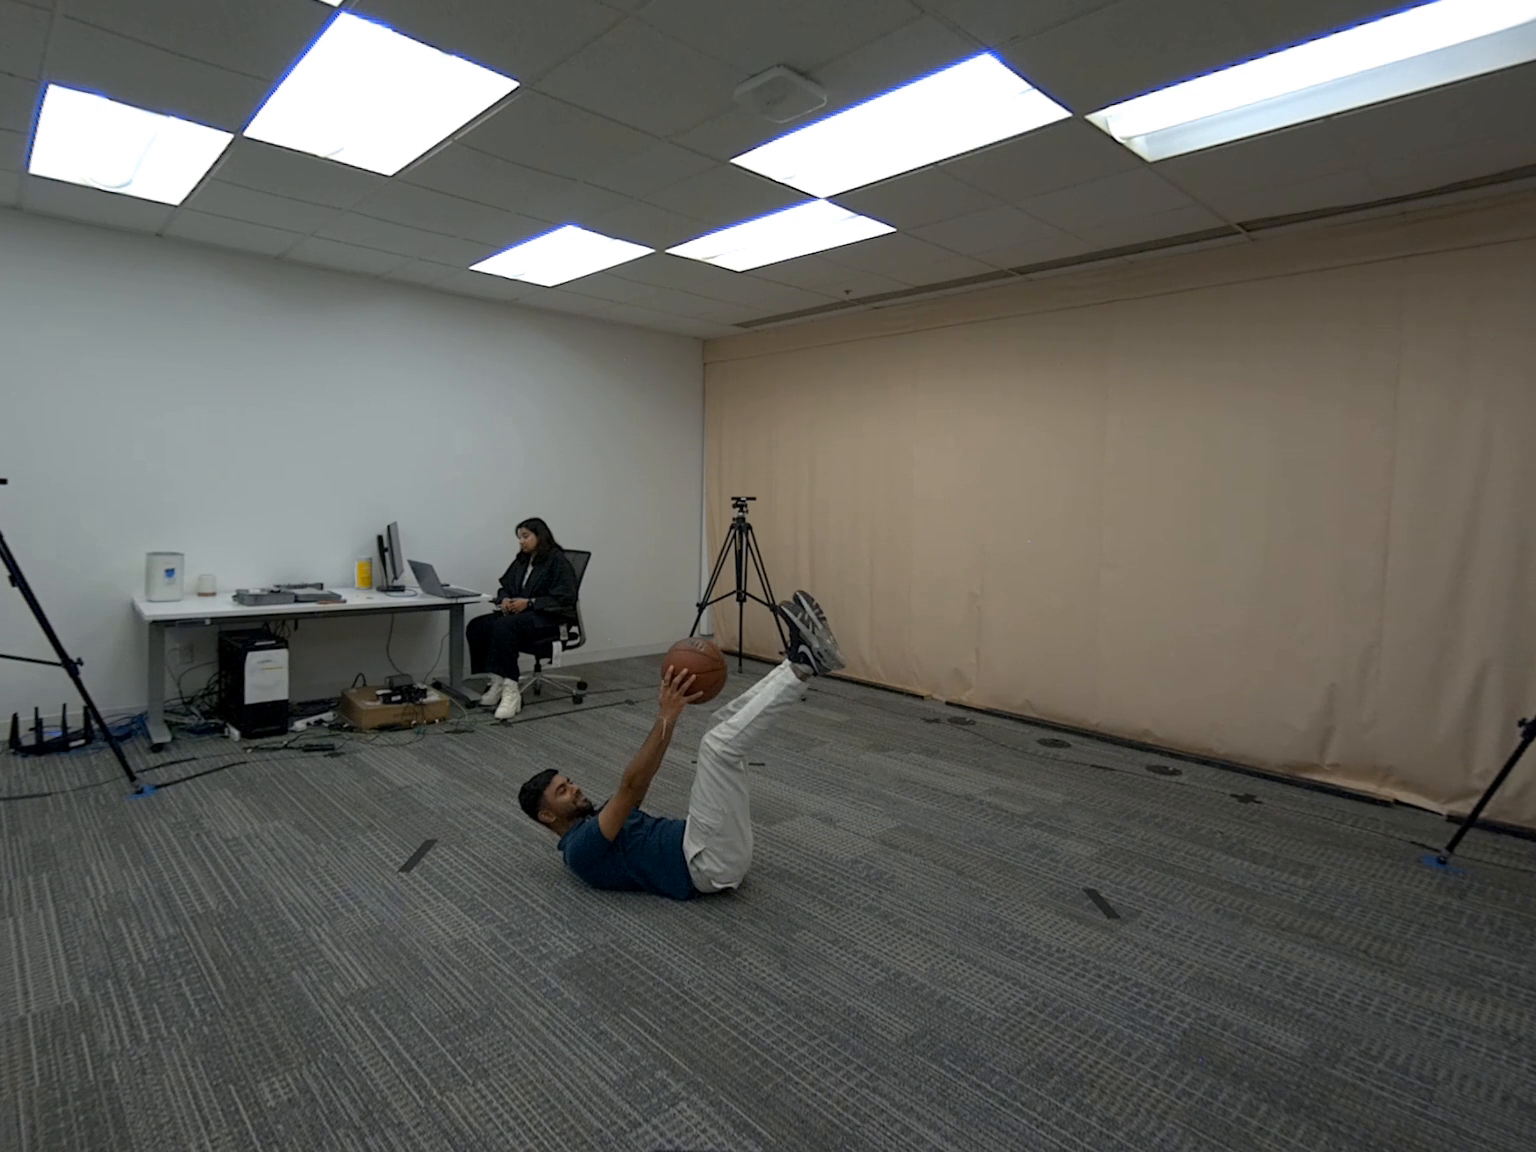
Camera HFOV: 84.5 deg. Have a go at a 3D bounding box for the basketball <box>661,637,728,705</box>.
[{"bbox_3d":[-0.276,0.338,2.999,0.236,0.235,0.237,1,4,-1],"label":"basketball"}]
